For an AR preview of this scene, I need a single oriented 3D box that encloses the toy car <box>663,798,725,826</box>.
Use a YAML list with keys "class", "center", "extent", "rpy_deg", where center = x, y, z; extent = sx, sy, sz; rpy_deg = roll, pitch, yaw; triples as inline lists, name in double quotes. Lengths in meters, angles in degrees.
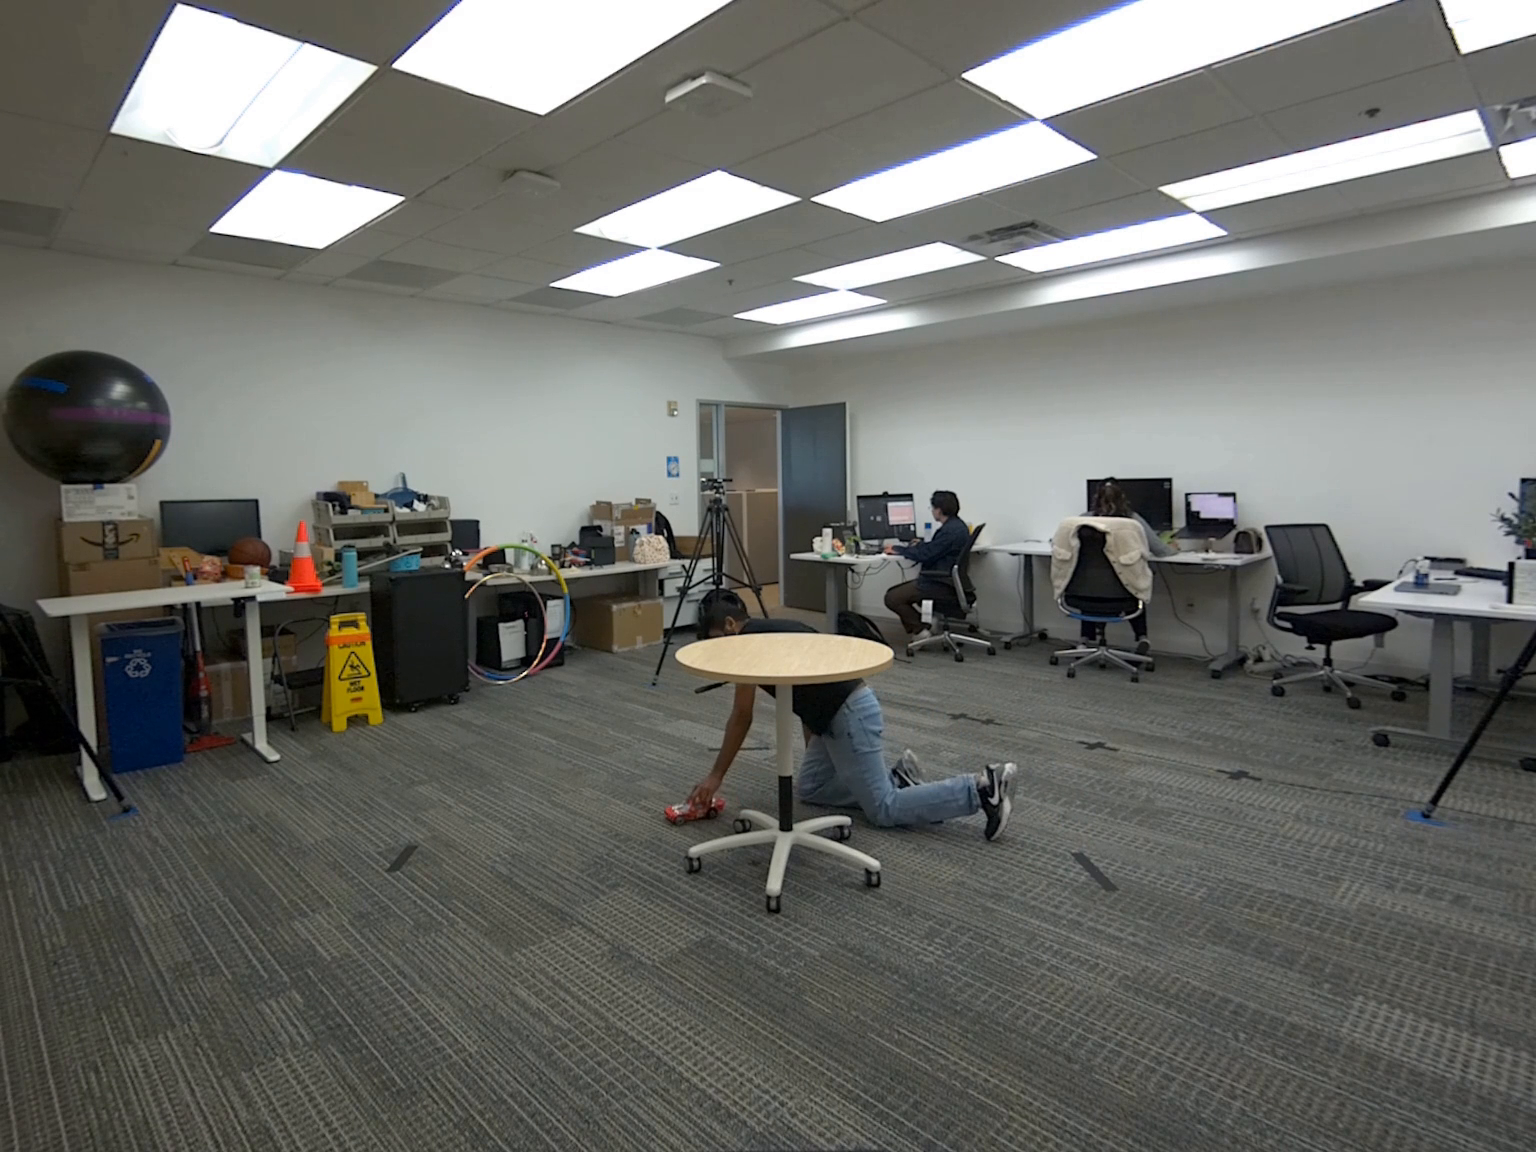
- class: "toy car"
  center: [-0.303, 0.963, 3.540]
  extent: [0.250, 0.082, 0.133]
  rpy_deg: [-15, 11, -25]
